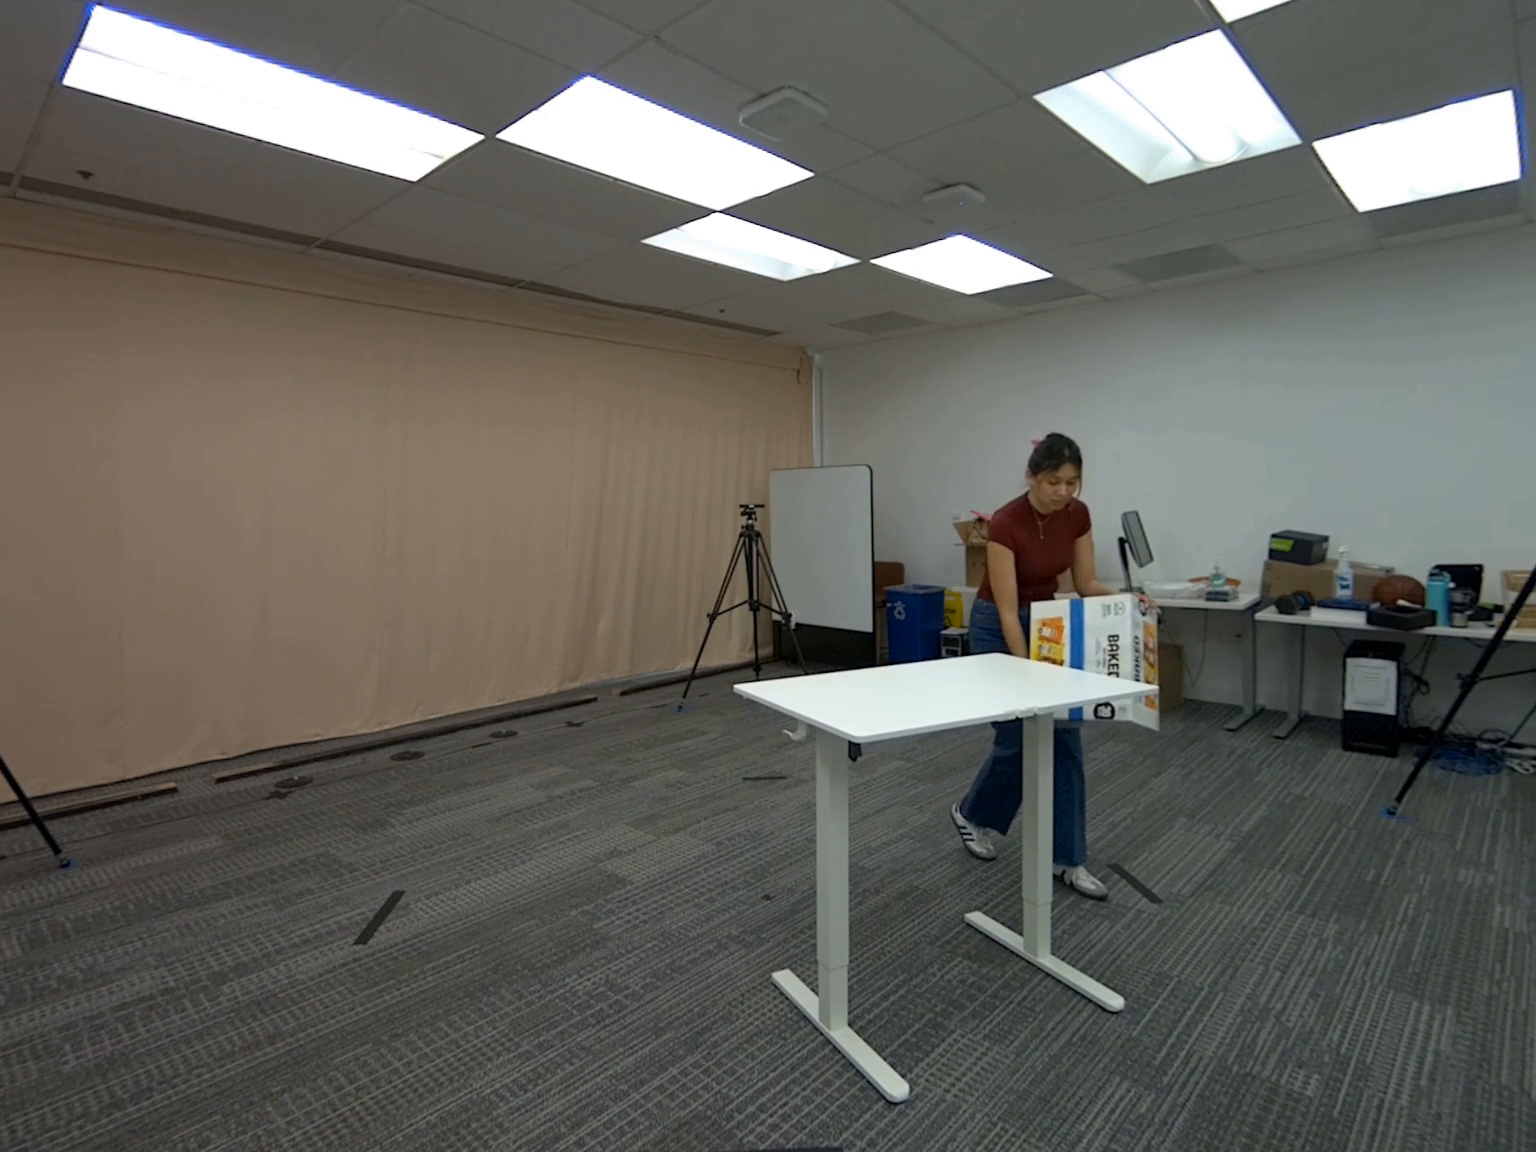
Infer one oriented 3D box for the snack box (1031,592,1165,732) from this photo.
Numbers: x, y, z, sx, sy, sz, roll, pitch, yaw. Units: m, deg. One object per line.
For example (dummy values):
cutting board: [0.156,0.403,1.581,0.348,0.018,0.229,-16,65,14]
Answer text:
snack box: [1.084,0.290,2.807,0.198,0.408,0.350,19,-20,-40]
